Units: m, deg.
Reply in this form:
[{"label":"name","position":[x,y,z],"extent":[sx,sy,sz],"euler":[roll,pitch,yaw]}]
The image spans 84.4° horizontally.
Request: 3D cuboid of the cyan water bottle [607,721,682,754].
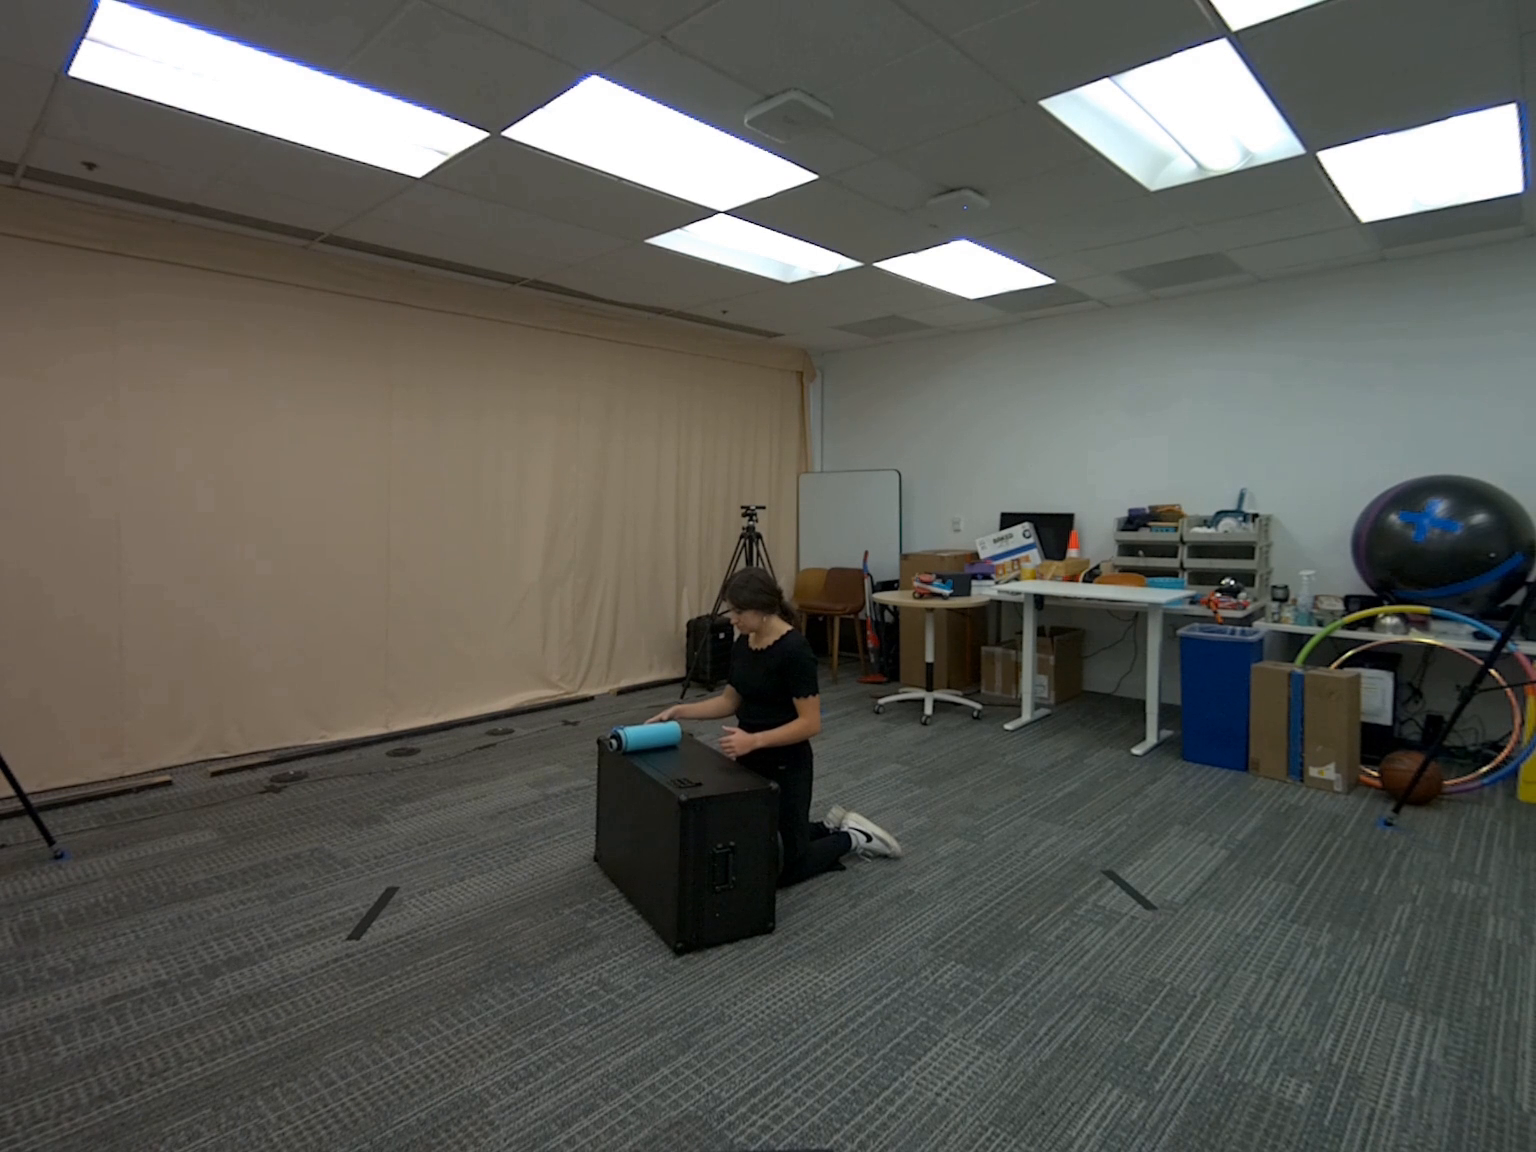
[{"label":"cyan water bottle","position":[-0.461,0.598,3.125],"extent":[0.275,0.092,0.095],"euler":[0,3,-34]}]
